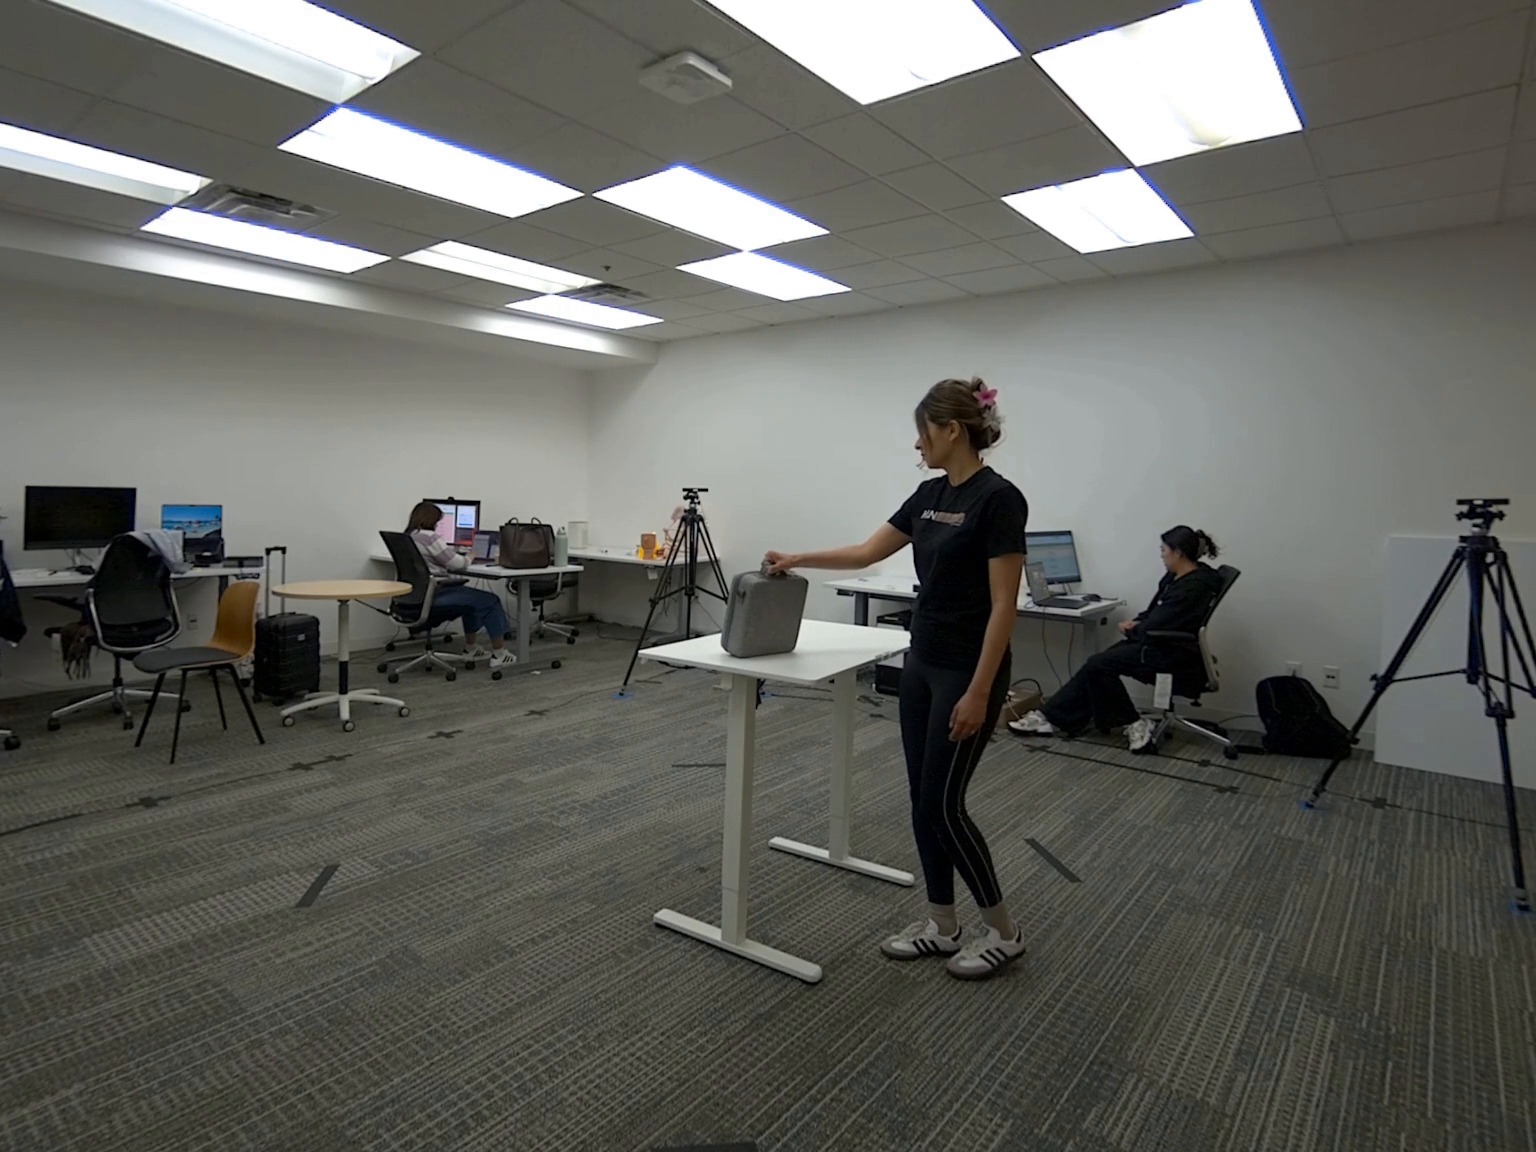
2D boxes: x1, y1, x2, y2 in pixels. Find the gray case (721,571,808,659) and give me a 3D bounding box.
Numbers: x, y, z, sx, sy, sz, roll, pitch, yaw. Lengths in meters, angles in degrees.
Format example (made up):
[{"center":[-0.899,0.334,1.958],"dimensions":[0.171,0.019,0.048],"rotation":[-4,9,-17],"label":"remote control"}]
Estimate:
[{"center":[-0.019,0.105,2.610],"dimensions":[0.249,0.258,0.108],"rotation":[-1,16,-40],"label":"gray case"}]
